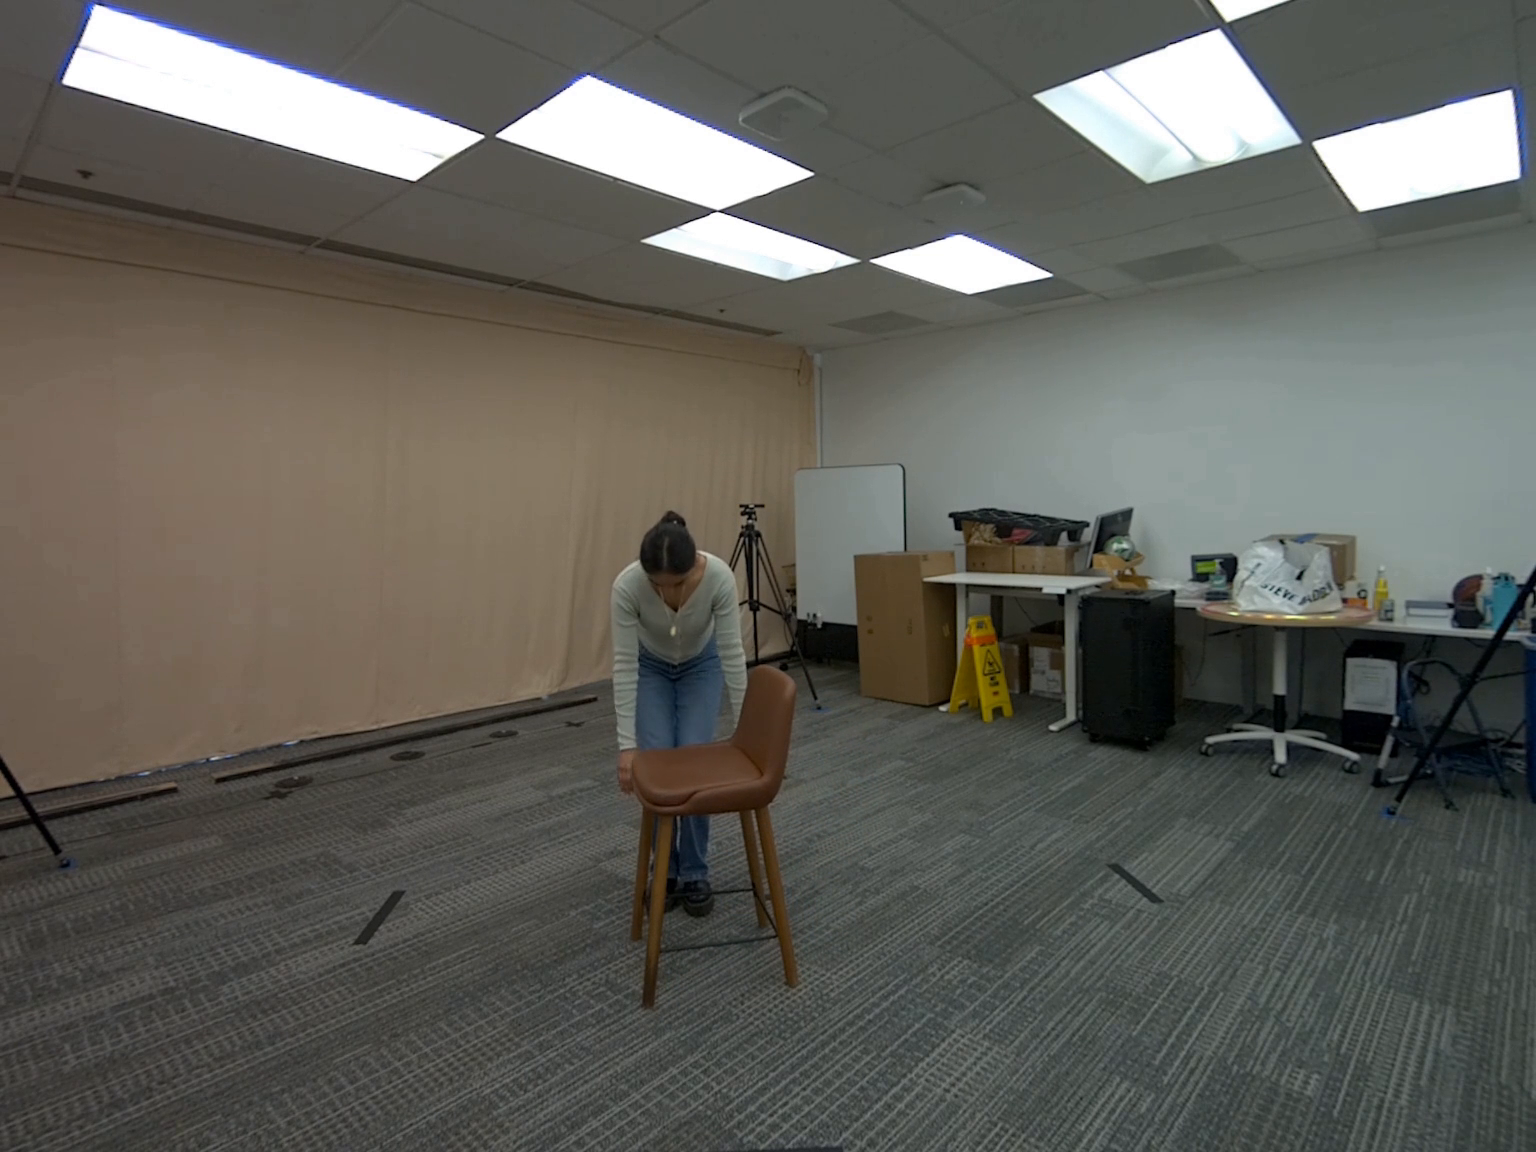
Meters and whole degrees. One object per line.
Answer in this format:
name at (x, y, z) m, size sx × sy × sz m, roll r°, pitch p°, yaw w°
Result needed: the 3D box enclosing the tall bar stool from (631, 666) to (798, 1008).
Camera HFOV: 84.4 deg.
tall bar stool at (-0.174, 0.747, 2.549) m, size 0.461 × 0.888 × 0.464 m, roll 0°, pitch 3°, yaw -13°
